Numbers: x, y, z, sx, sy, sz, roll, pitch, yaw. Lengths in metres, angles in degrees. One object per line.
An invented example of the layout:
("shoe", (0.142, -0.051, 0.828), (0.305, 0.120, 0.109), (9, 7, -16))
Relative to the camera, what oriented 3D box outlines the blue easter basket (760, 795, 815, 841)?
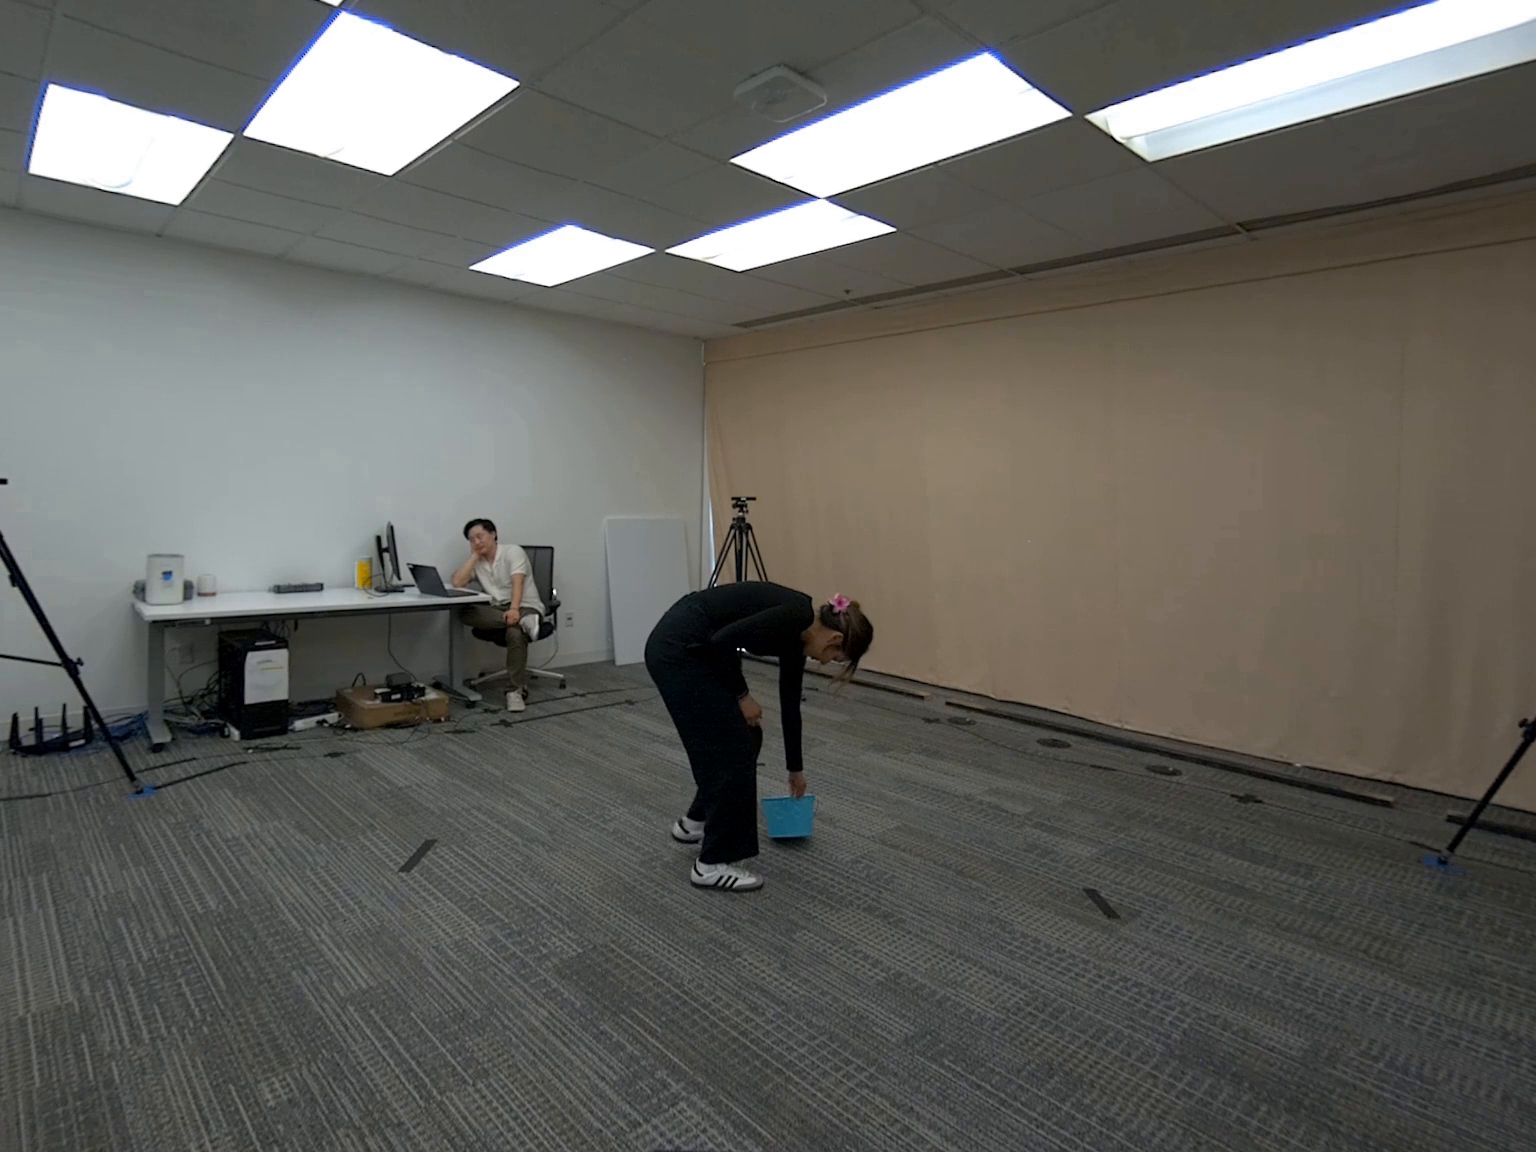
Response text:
("blue easter basket", (0.085, 0.980, 3.456), (0.243, 0.157, 0.241), (-3, -13, -2))
